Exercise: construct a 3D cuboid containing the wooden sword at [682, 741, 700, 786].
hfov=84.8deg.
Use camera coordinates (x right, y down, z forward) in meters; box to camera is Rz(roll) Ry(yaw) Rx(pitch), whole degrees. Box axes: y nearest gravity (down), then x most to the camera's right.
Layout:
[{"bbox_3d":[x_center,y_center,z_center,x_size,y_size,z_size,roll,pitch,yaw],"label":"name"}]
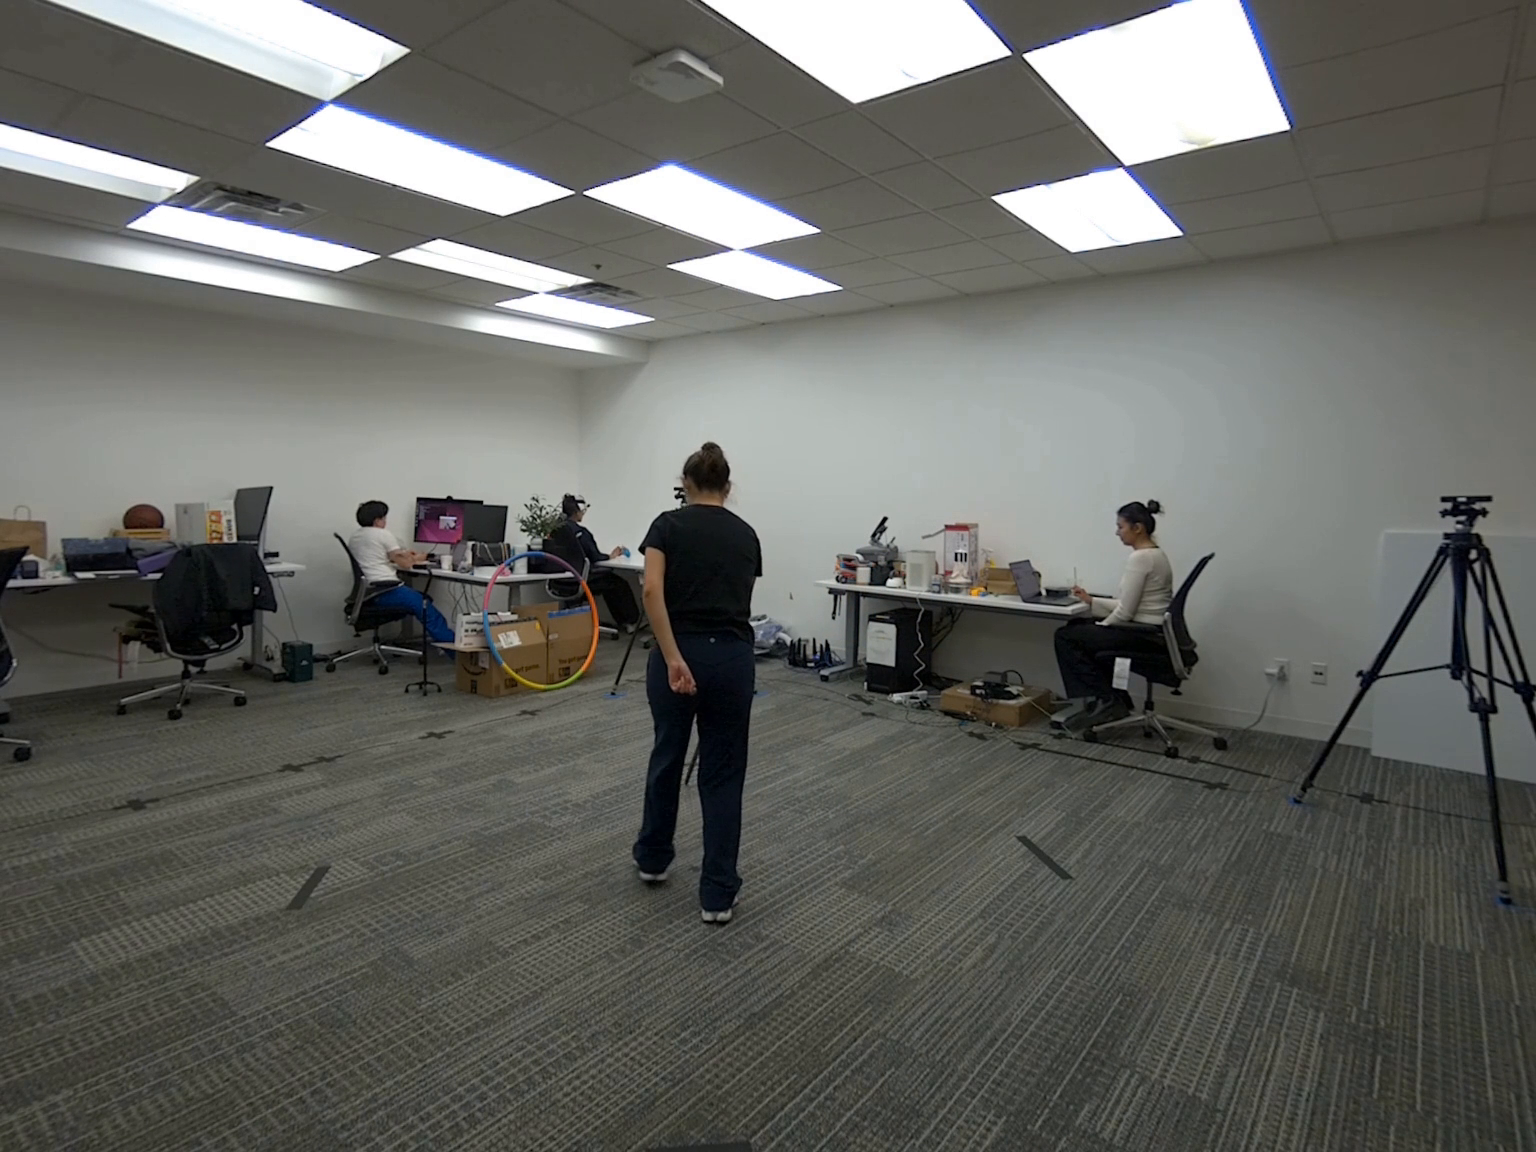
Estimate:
[{"bbox_3d":[-0.249,0.643,3.628,0.023,0.053,1.006,-3,-37,-19],"label":"wooden sword"}]
